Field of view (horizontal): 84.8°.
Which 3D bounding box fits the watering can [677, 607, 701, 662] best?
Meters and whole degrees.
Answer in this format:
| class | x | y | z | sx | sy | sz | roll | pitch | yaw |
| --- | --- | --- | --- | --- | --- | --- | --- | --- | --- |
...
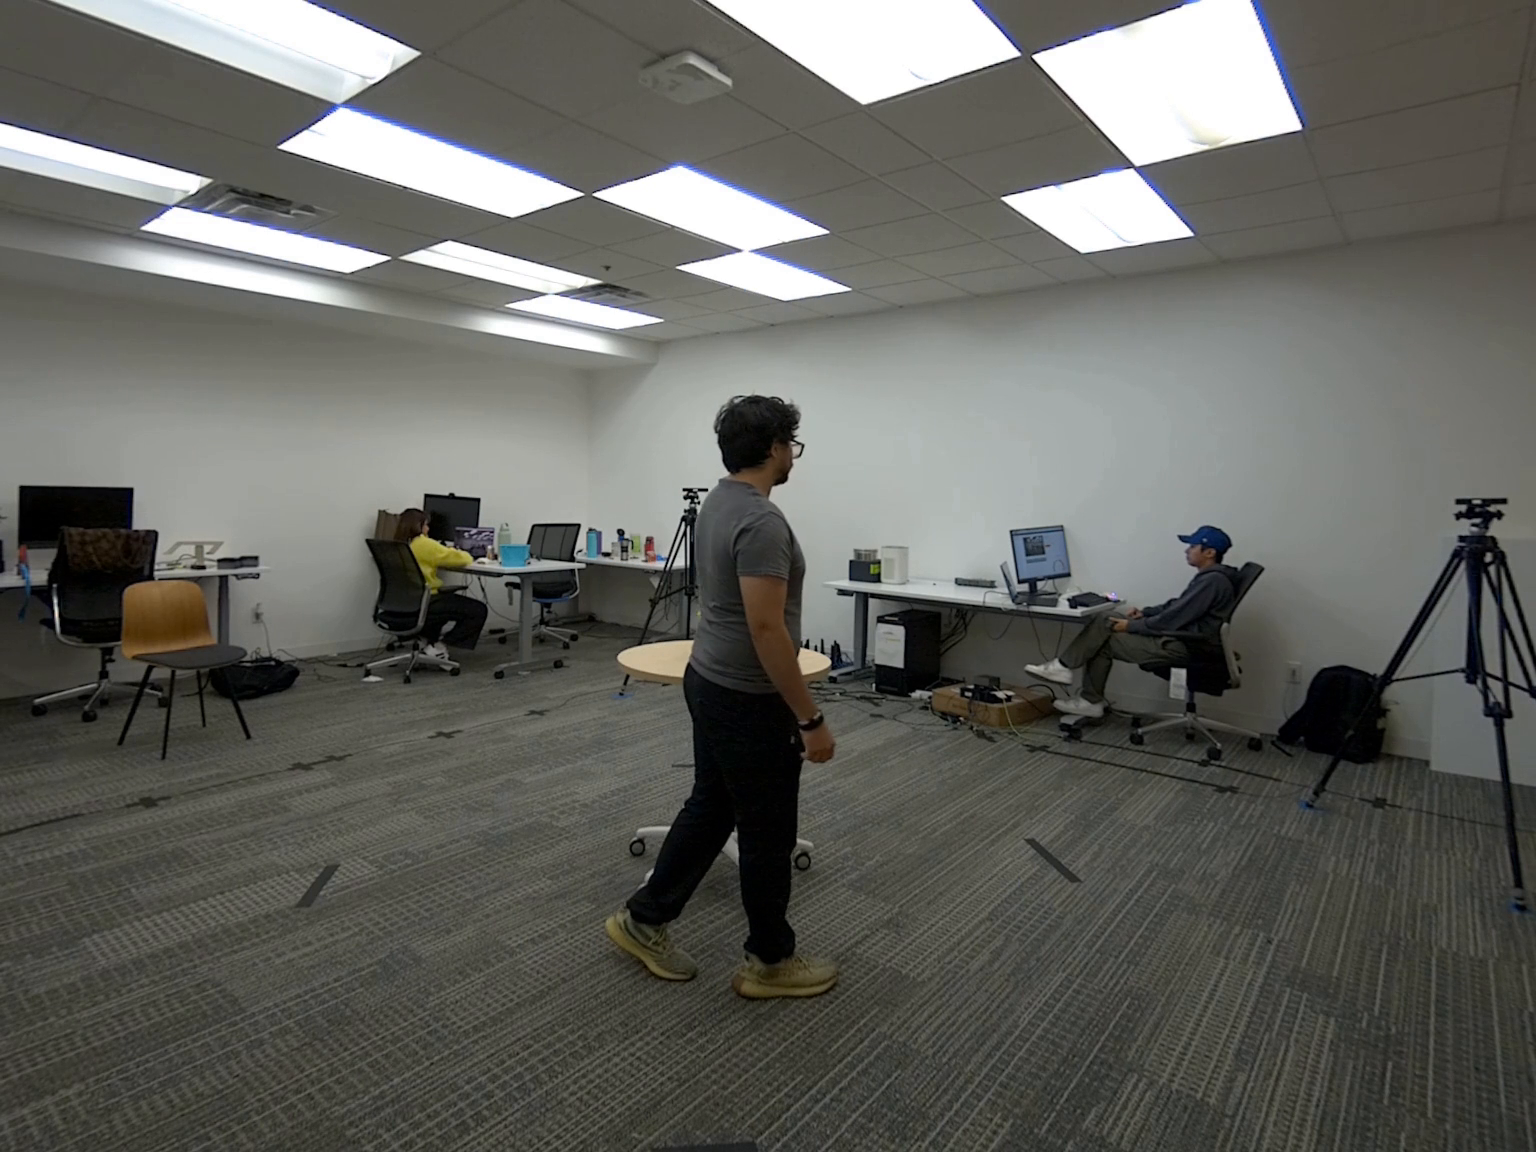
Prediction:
| class | x | y | z | sx | sy | sz | roll | pitch | yaw |
| --- | --- | --- | --- | --- | --- | --- | --- | --- | --- |
| watering can | -0.204 | 0.202 | 3.061 | 0.101 | 0.176 | 0.270 | 0 | 2 | 36 |
